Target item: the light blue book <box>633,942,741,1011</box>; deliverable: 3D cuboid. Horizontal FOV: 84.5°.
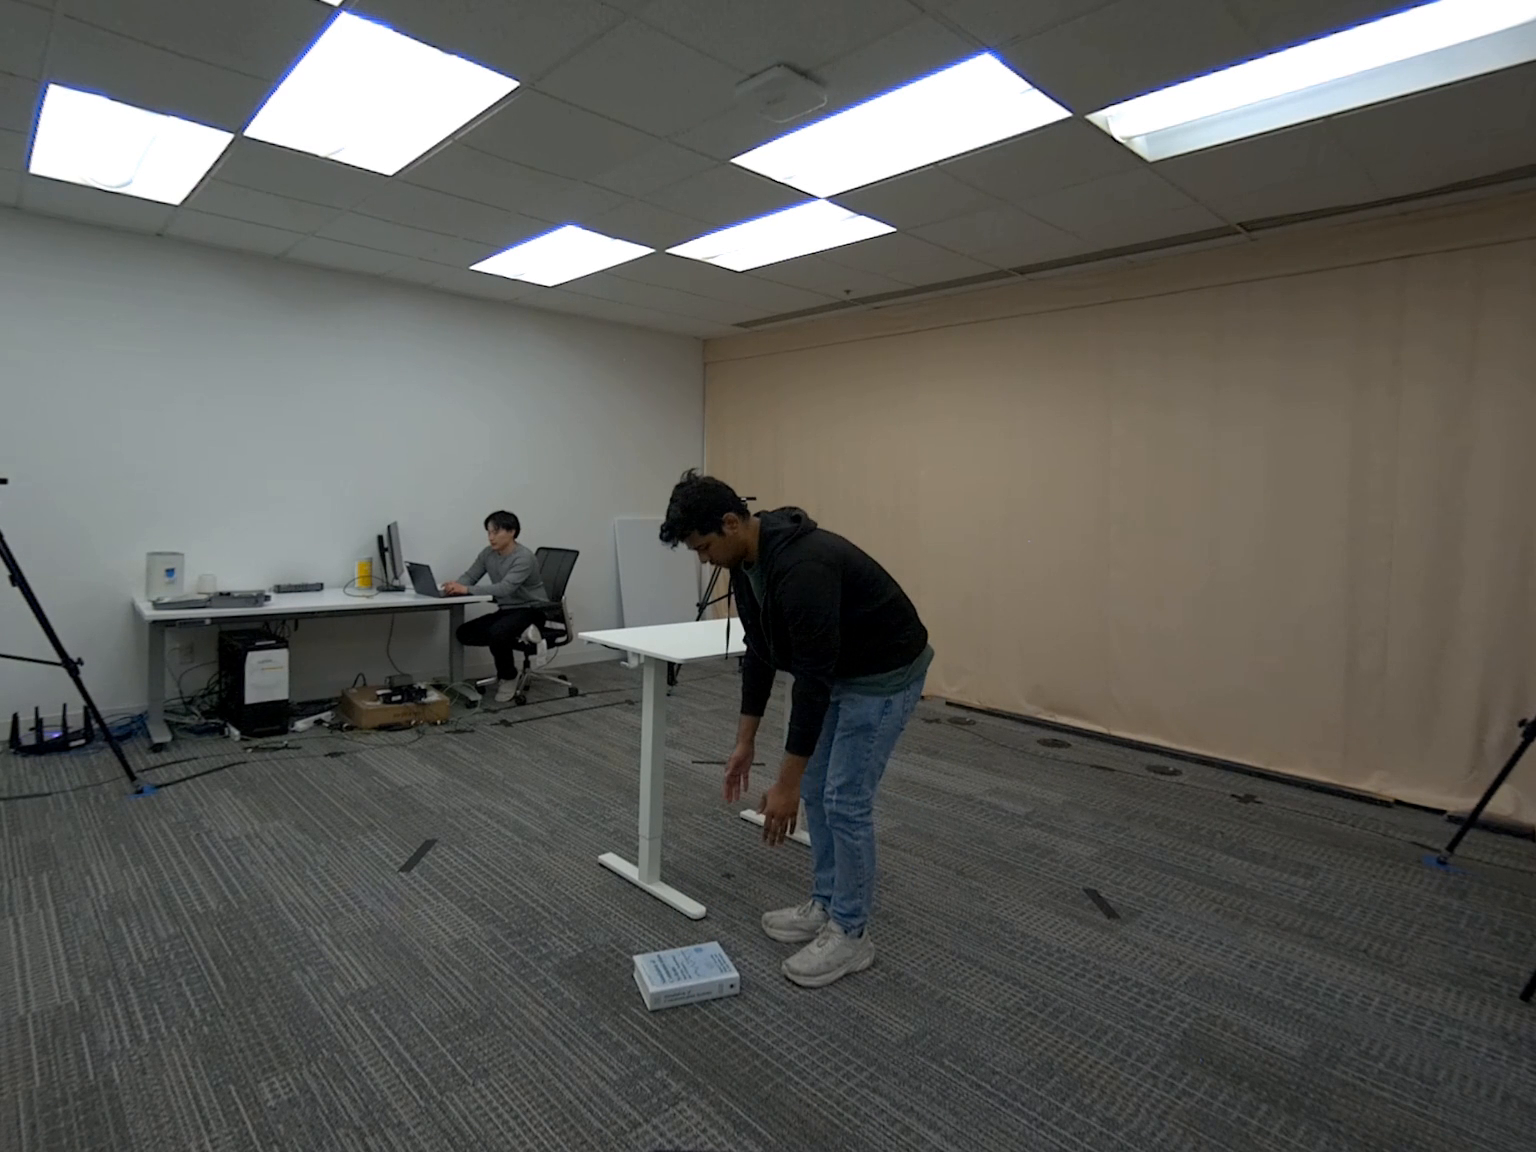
[{"bbox_3d":[-0.236,1.136,2.402,0.257,0.059,0.195,0,5,-21],"label":"light blue book"}]
